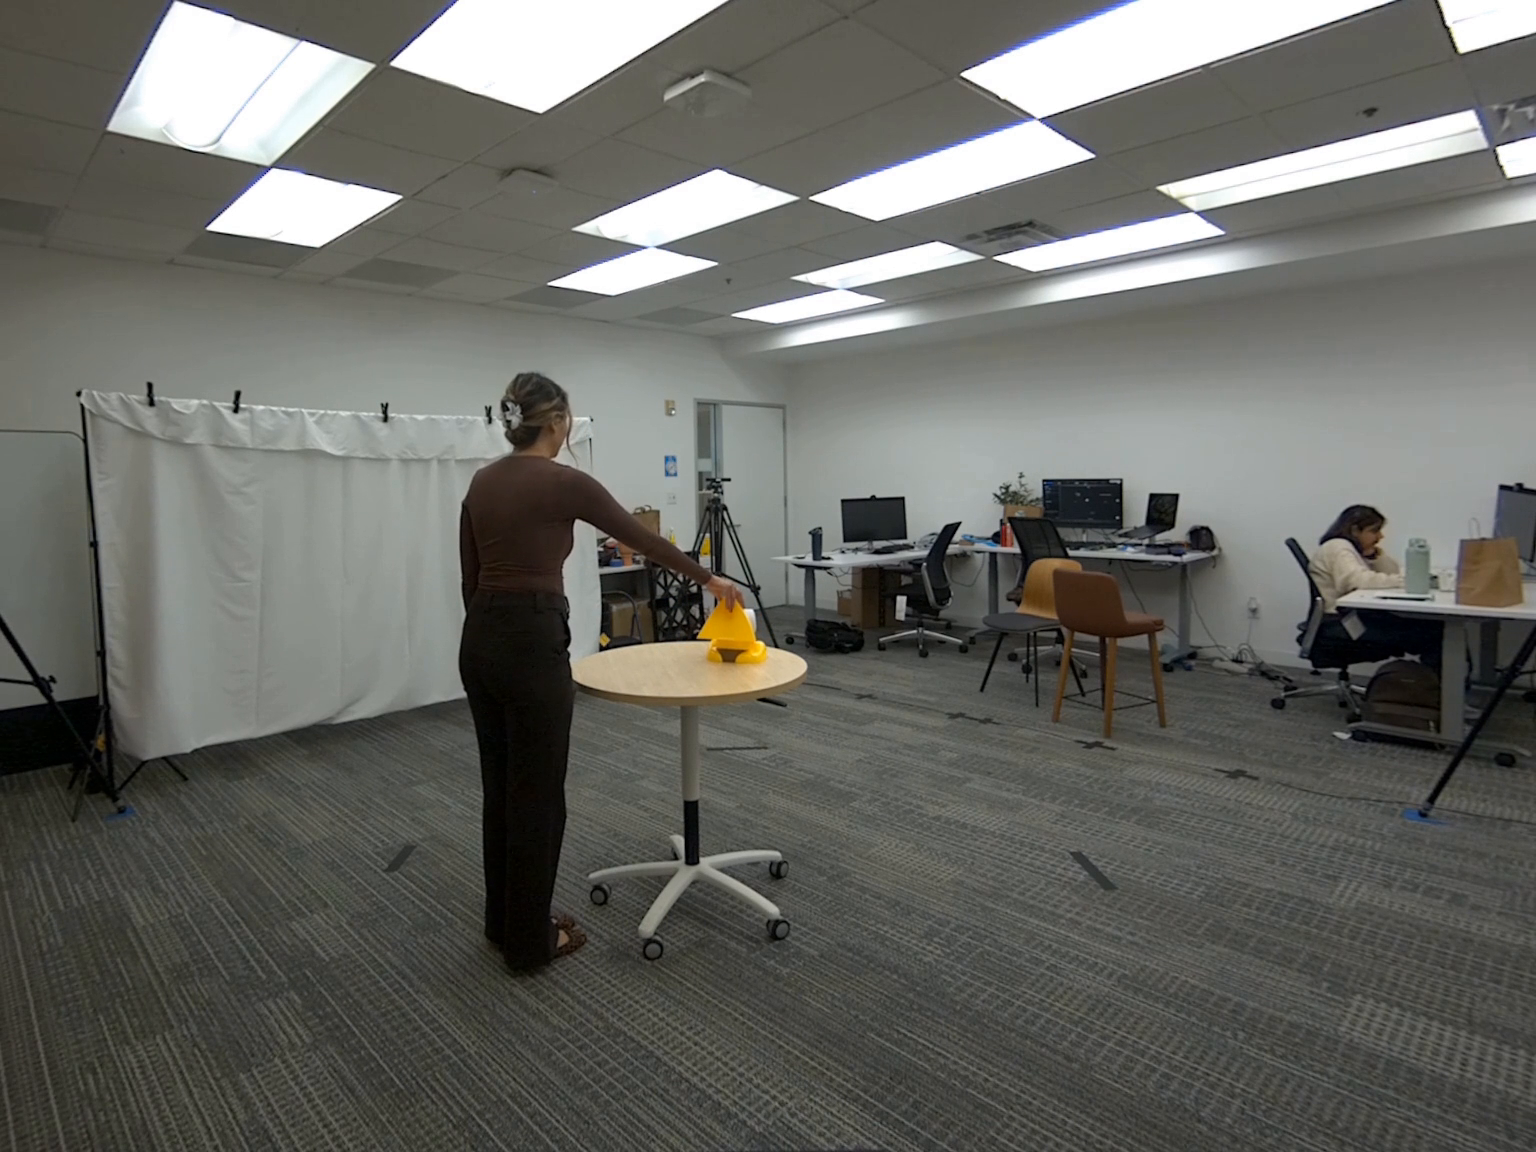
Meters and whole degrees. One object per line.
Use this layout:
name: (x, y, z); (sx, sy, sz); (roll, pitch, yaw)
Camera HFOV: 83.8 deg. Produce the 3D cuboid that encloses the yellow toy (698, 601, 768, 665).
yellow toy: (-0.104, 0.162, 2.845); (0.209, 0.229, 0.190); (2, 7, 20)
